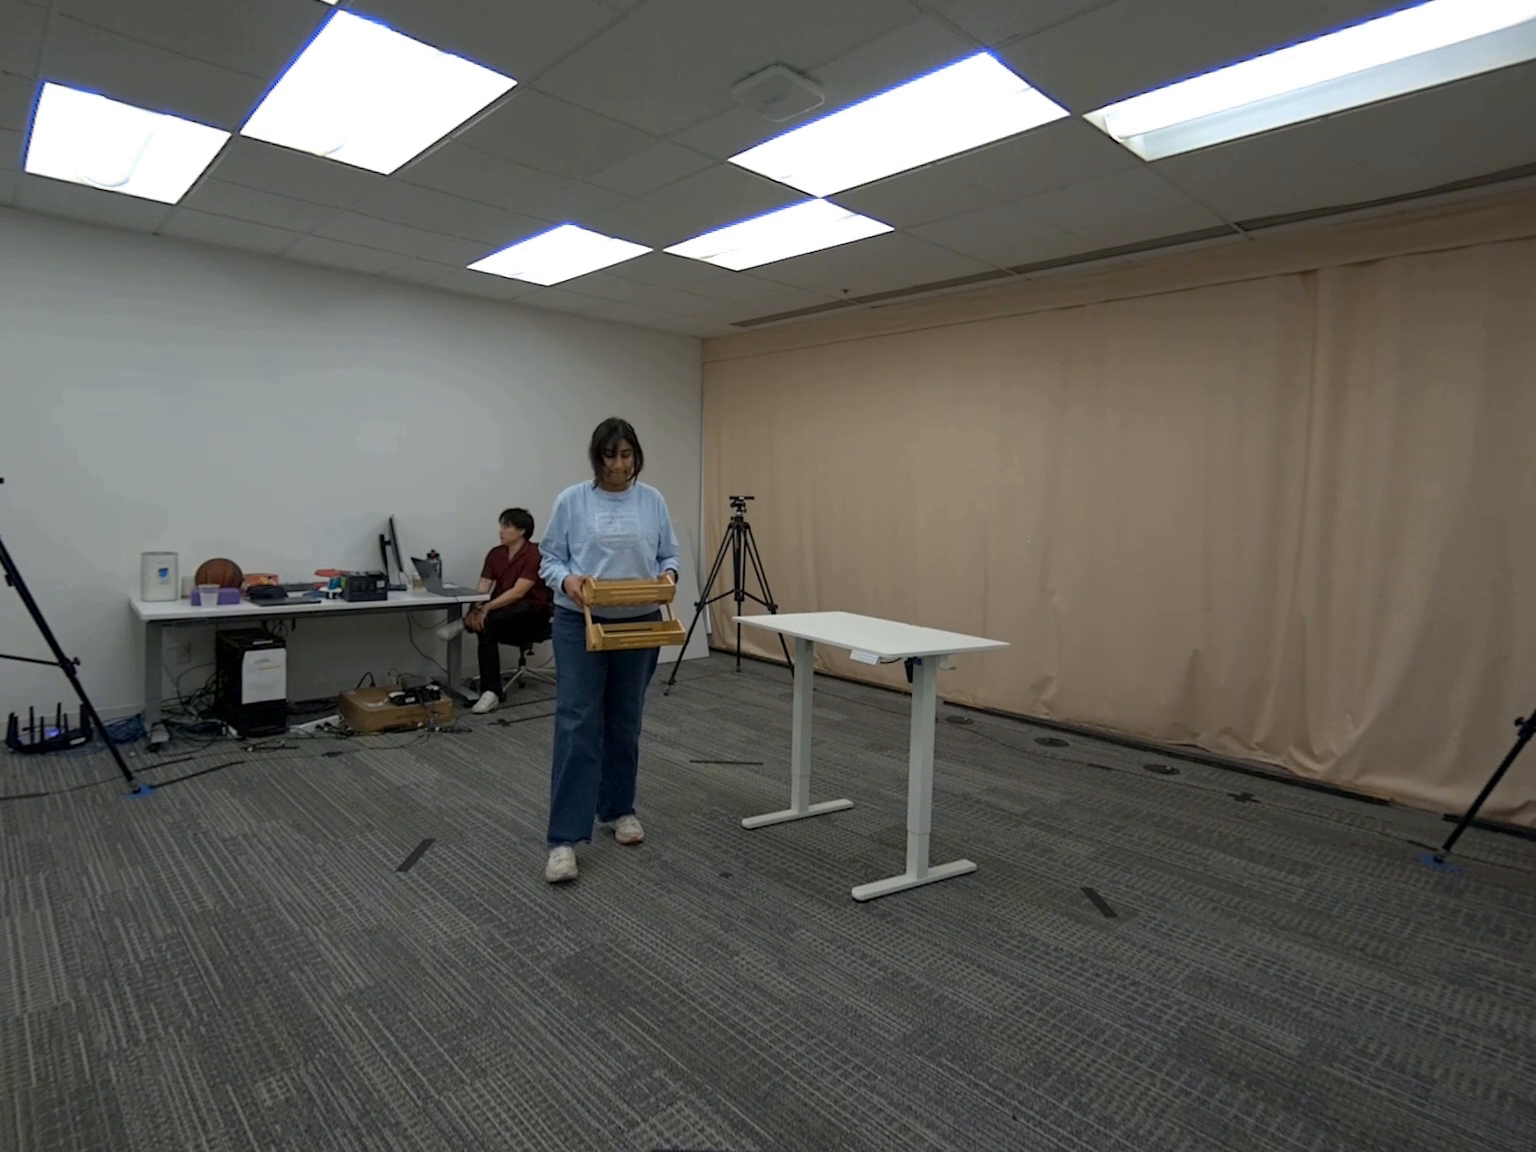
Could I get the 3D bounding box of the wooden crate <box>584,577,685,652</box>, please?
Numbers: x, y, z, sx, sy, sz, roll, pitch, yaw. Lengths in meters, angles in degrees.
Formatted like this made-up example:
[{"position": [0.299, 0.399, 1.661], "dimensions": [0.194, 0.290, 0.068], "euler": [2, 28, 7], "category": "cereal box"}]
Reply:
[{"position": [-0.517, 0.127, 3.060], "dimensions": [0.319, 0.275, 0.305], "euler": [0, -8, -25], "category": "wooden crate"}]
